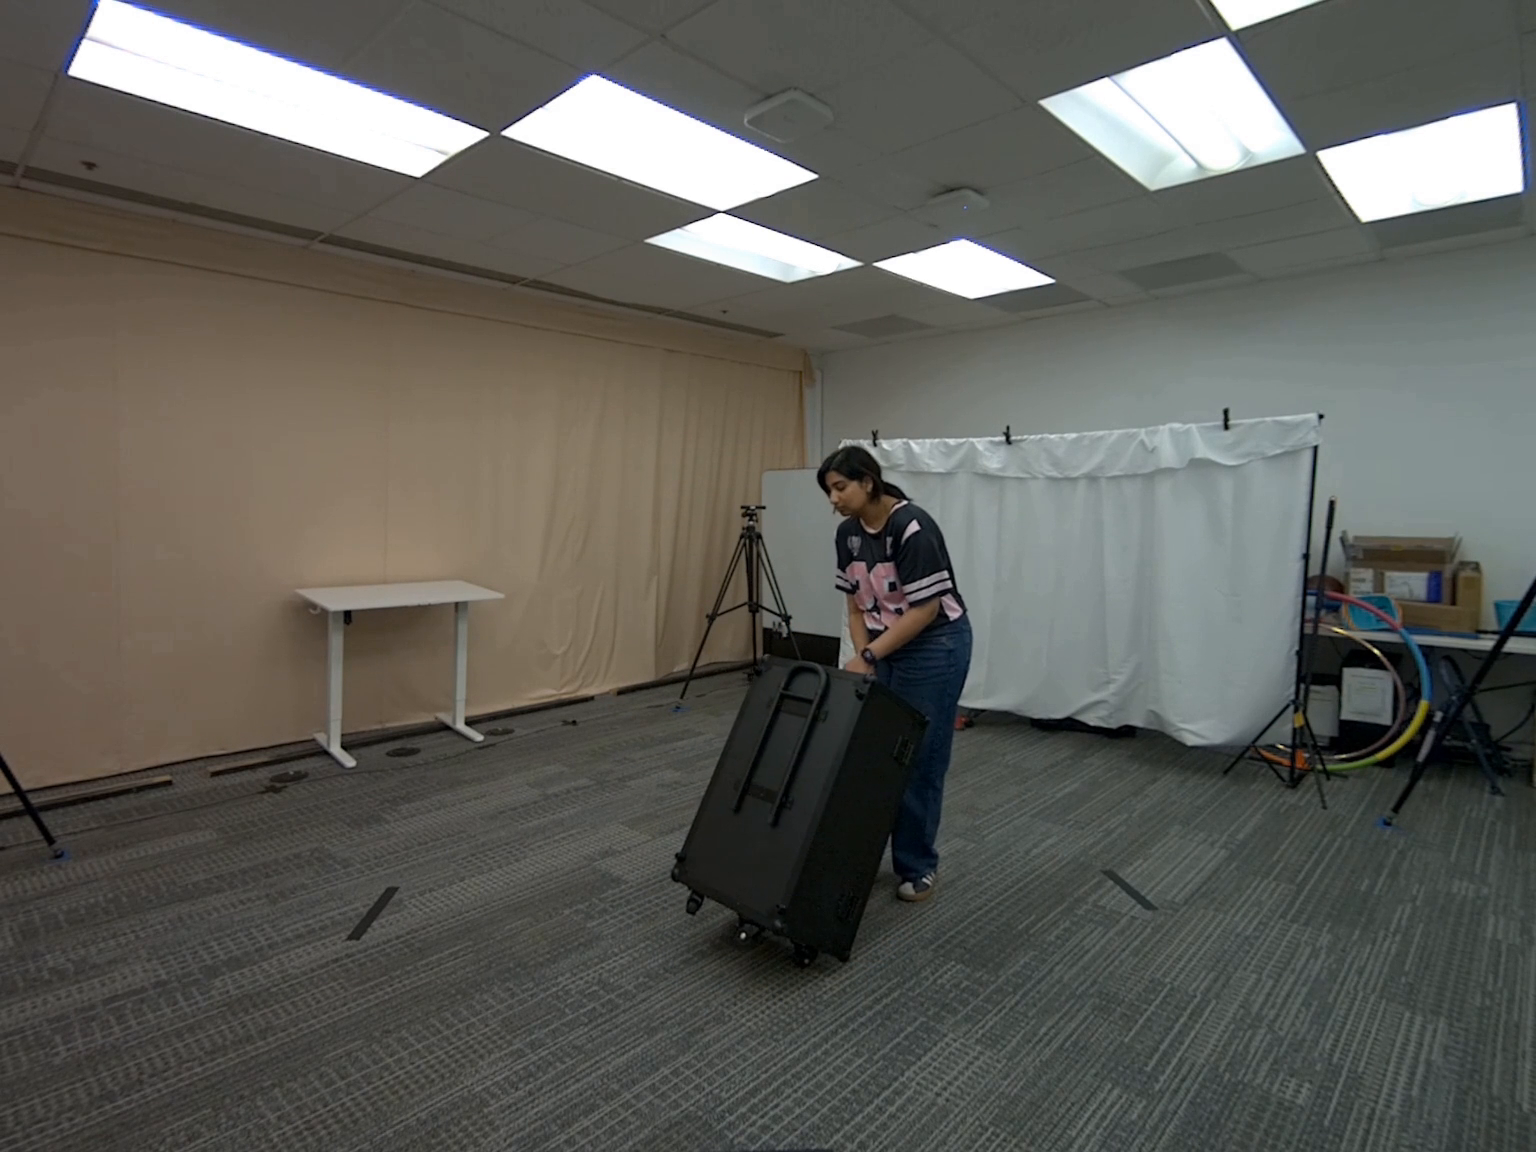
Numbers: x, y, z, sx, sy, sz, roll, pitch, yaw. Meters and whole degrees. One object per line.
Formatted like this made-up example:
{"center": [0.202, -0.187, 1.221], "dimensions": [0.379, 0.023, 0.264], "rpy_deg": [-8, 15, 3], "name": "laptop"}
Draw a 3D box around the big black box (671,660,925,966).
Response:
{"center": [0.100, 0.743, 2.686], "dimensions": [0.541, 0.870, 0.372], "rpy_deg": [4, -26, 45], "name": "big black box"}
